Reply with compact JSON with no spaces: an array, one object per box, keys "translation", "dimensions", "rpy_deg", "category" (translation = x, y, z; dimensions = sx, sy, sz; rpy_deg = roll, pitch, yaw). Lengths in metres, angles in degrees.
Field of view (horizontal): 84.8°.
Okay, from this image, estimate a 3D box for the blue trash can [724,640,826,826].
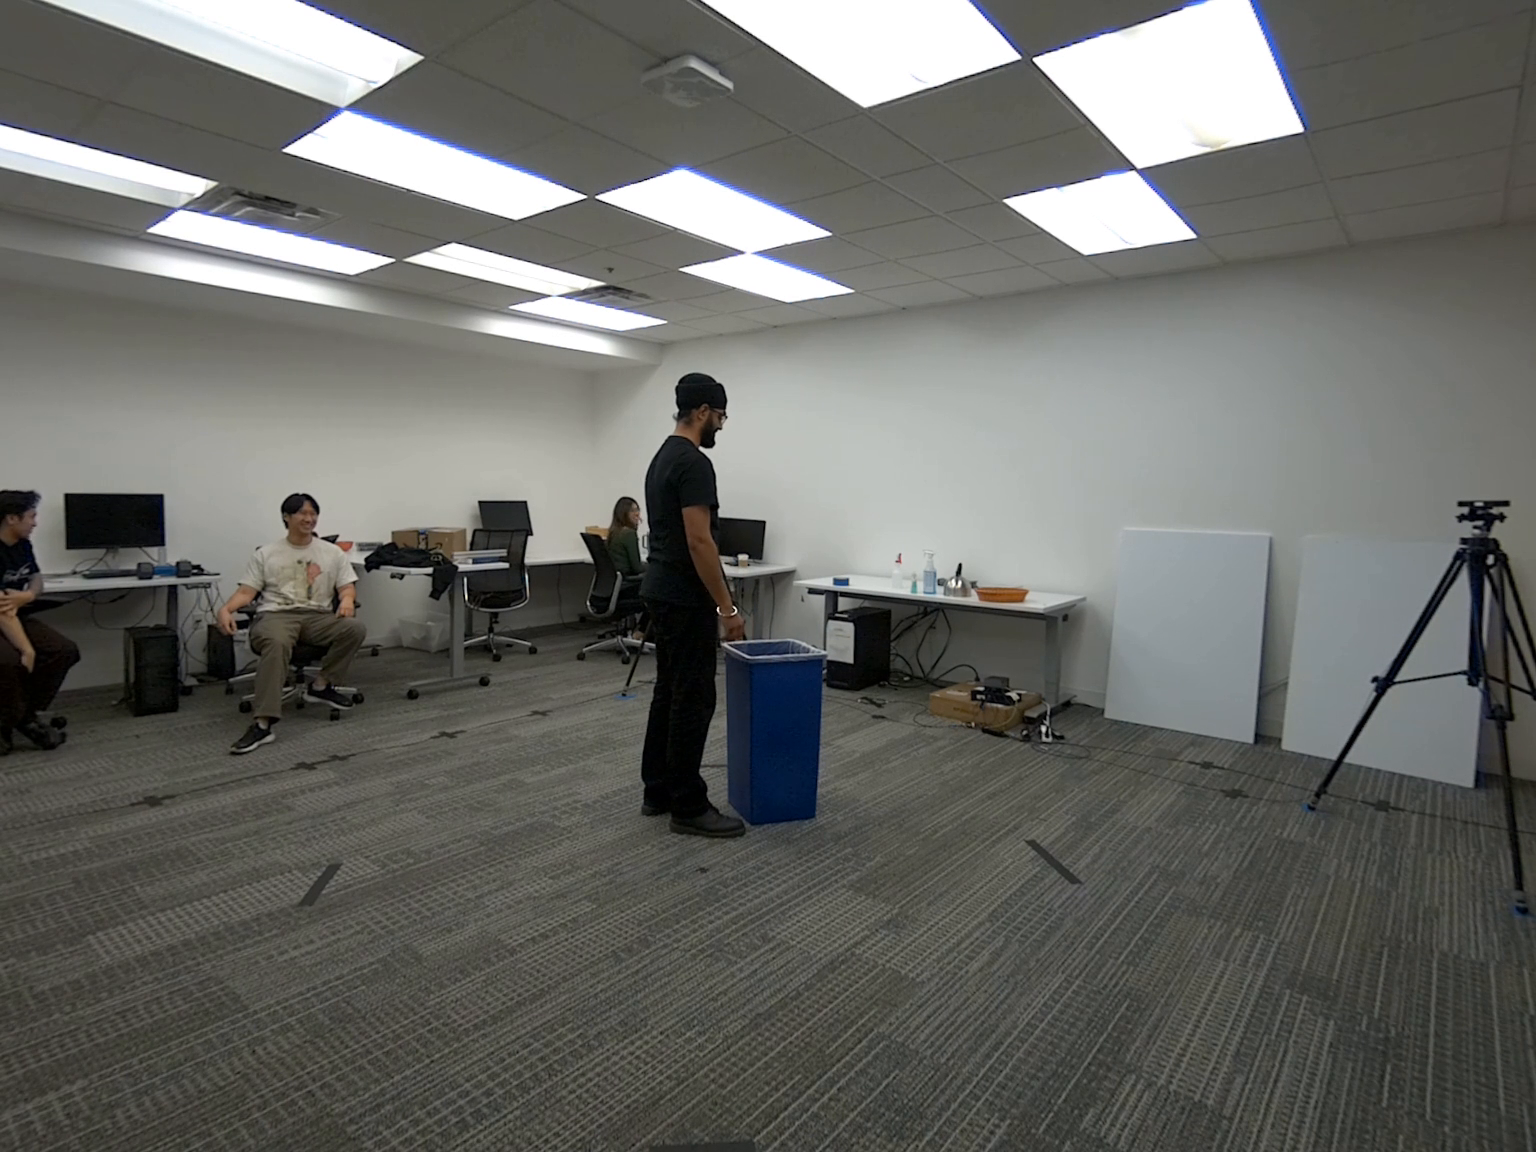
[{"translation":[0.002,0.665,3.704],"dimensions":[0.366,0.712,0.387],"rpy_deg":[0,3,-22],"category":"blue trash can"}]
